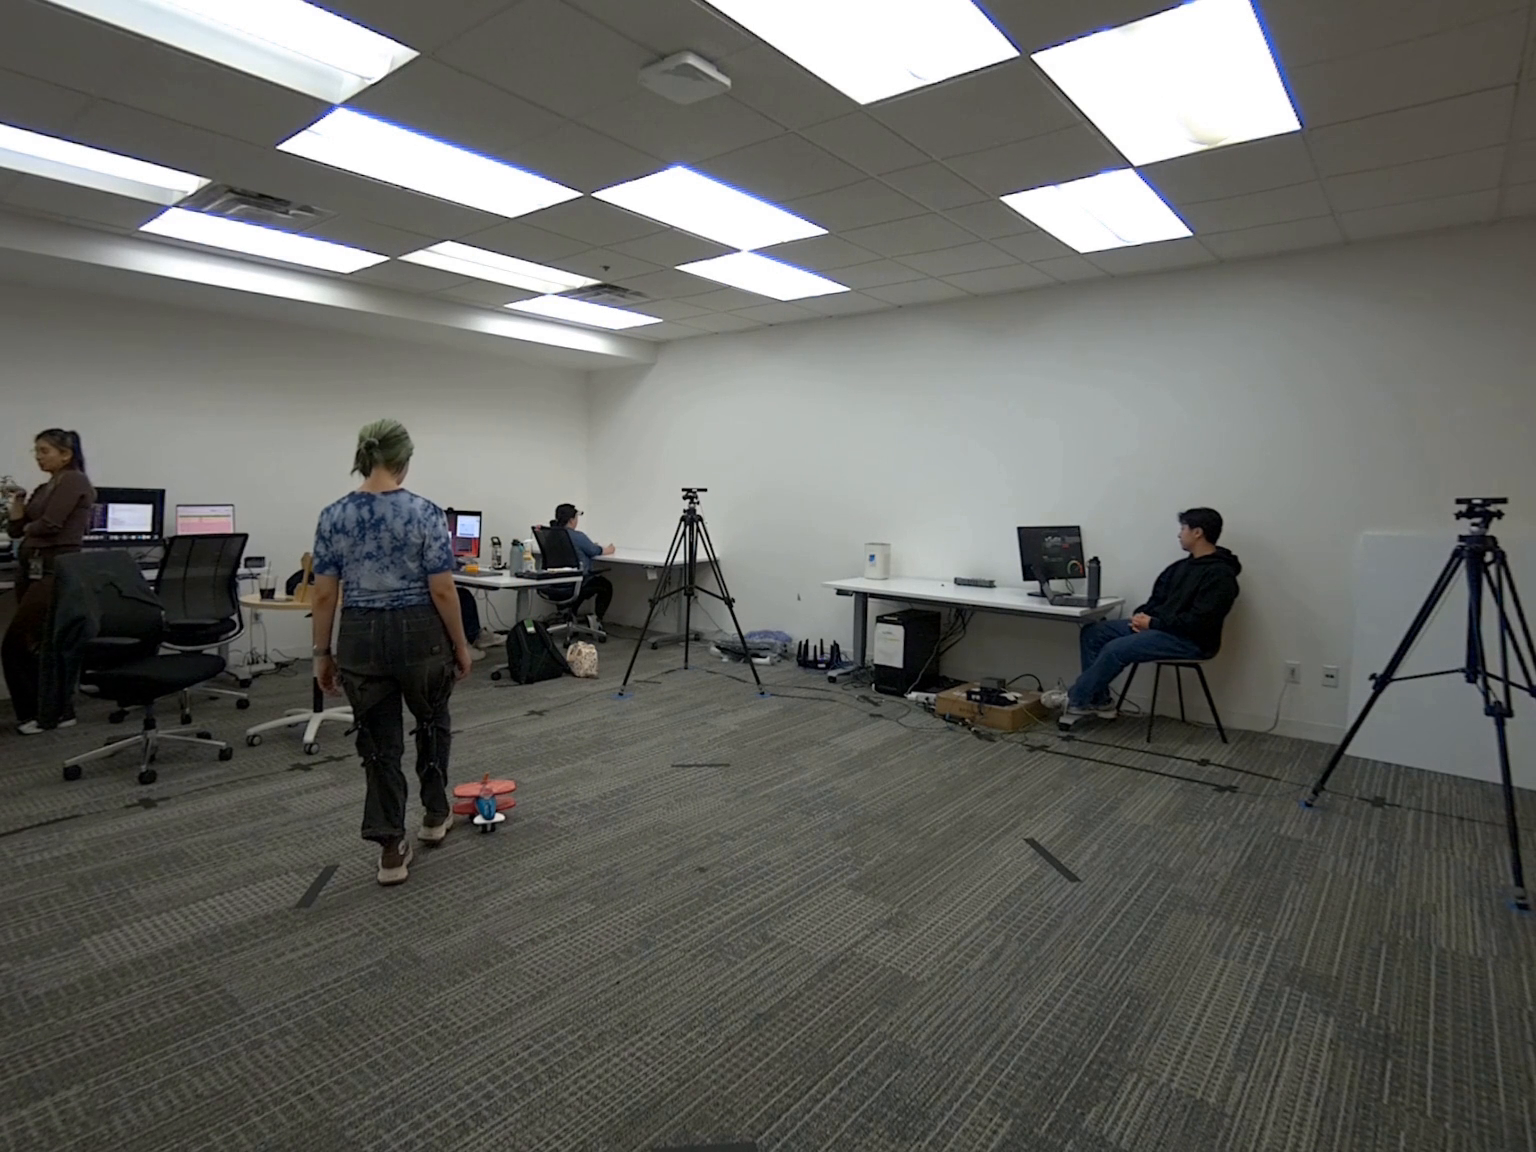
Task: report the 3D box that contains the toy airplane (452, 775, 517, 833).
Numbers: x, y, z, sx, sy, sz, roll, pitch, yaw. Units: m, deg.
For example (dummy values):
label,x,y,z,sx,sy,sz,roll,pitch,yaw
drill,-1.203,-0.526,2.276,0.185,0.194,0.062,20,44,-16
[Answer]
label,x,y,z,sx,sy,sz,roll,pitch,yaw
toy airplane,-1.165,0.945,3.505,0.267,0.156,0.244,2,4,38
